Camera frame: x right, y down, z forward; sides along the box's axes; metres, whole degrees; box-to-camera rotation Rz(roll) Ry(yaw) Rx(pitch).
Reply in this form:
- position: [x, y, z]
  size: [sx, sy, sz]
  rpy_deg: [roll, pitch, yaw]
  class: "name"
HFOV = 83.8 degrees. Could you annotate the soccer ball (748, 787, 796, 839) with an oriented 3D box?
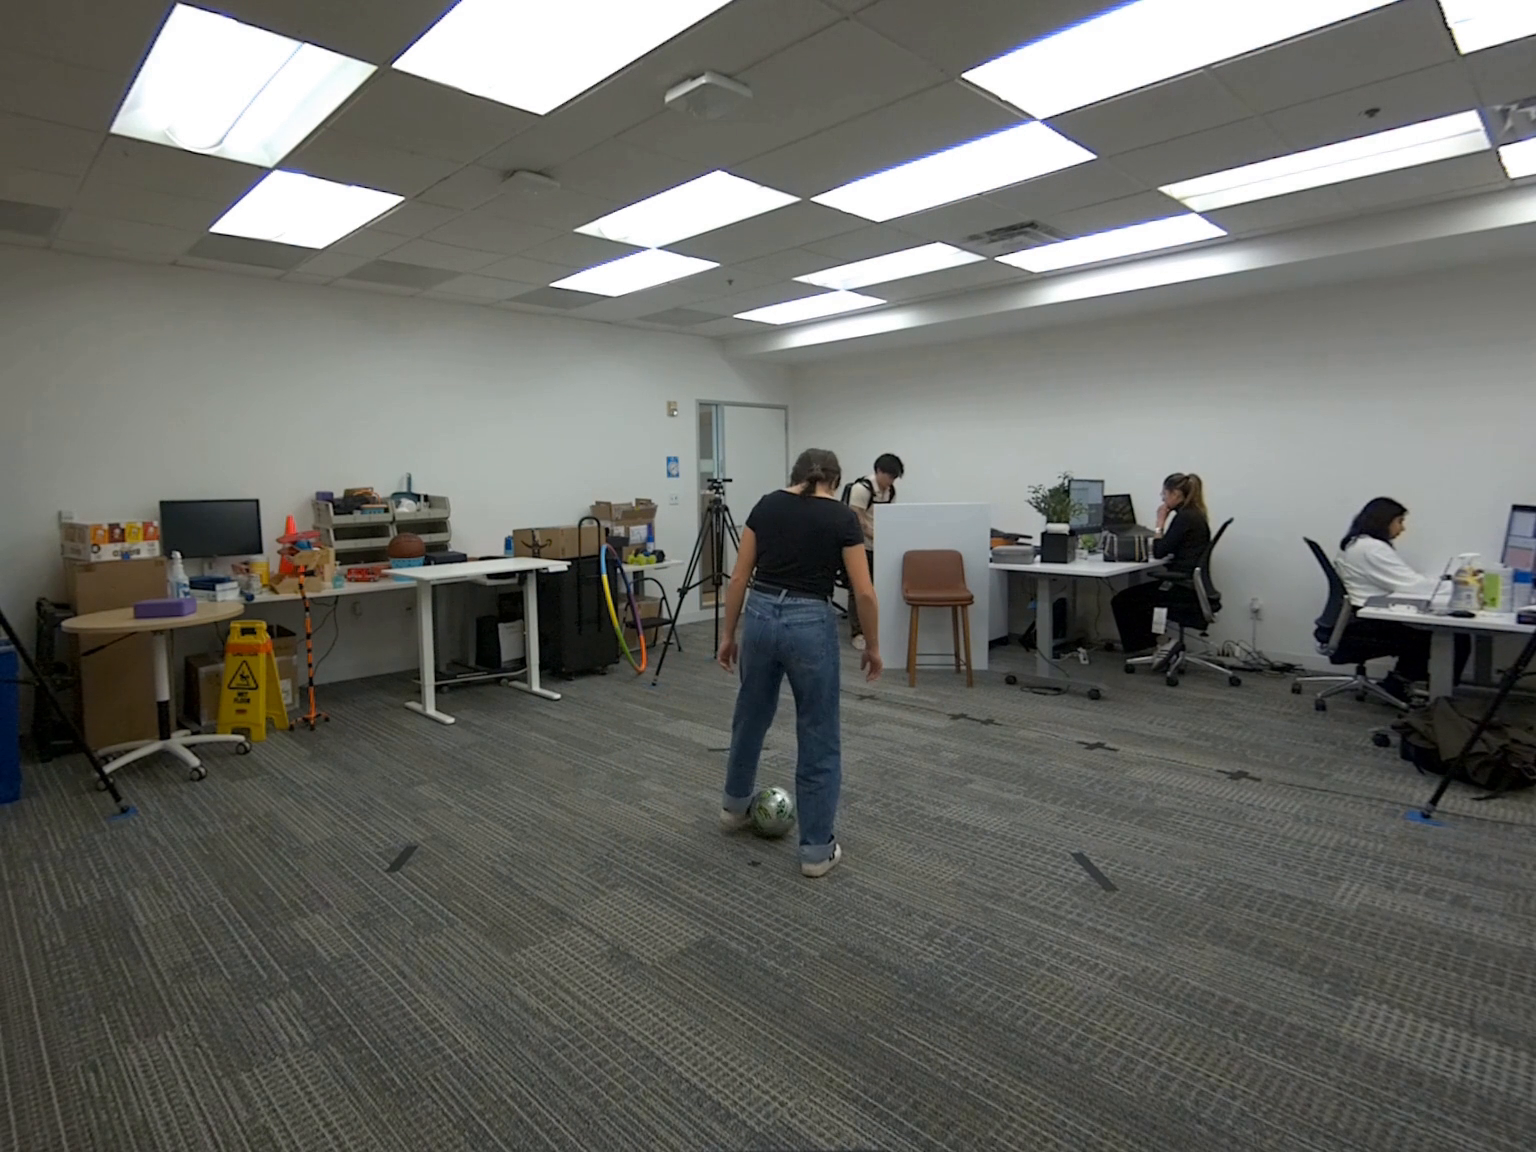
- position: [0.033, 0.924, 3.324]
  size: [0.187, 0.187, 0.188]
  rpy_deg: [-1, 5, -2]
  class: "soccer ball"
